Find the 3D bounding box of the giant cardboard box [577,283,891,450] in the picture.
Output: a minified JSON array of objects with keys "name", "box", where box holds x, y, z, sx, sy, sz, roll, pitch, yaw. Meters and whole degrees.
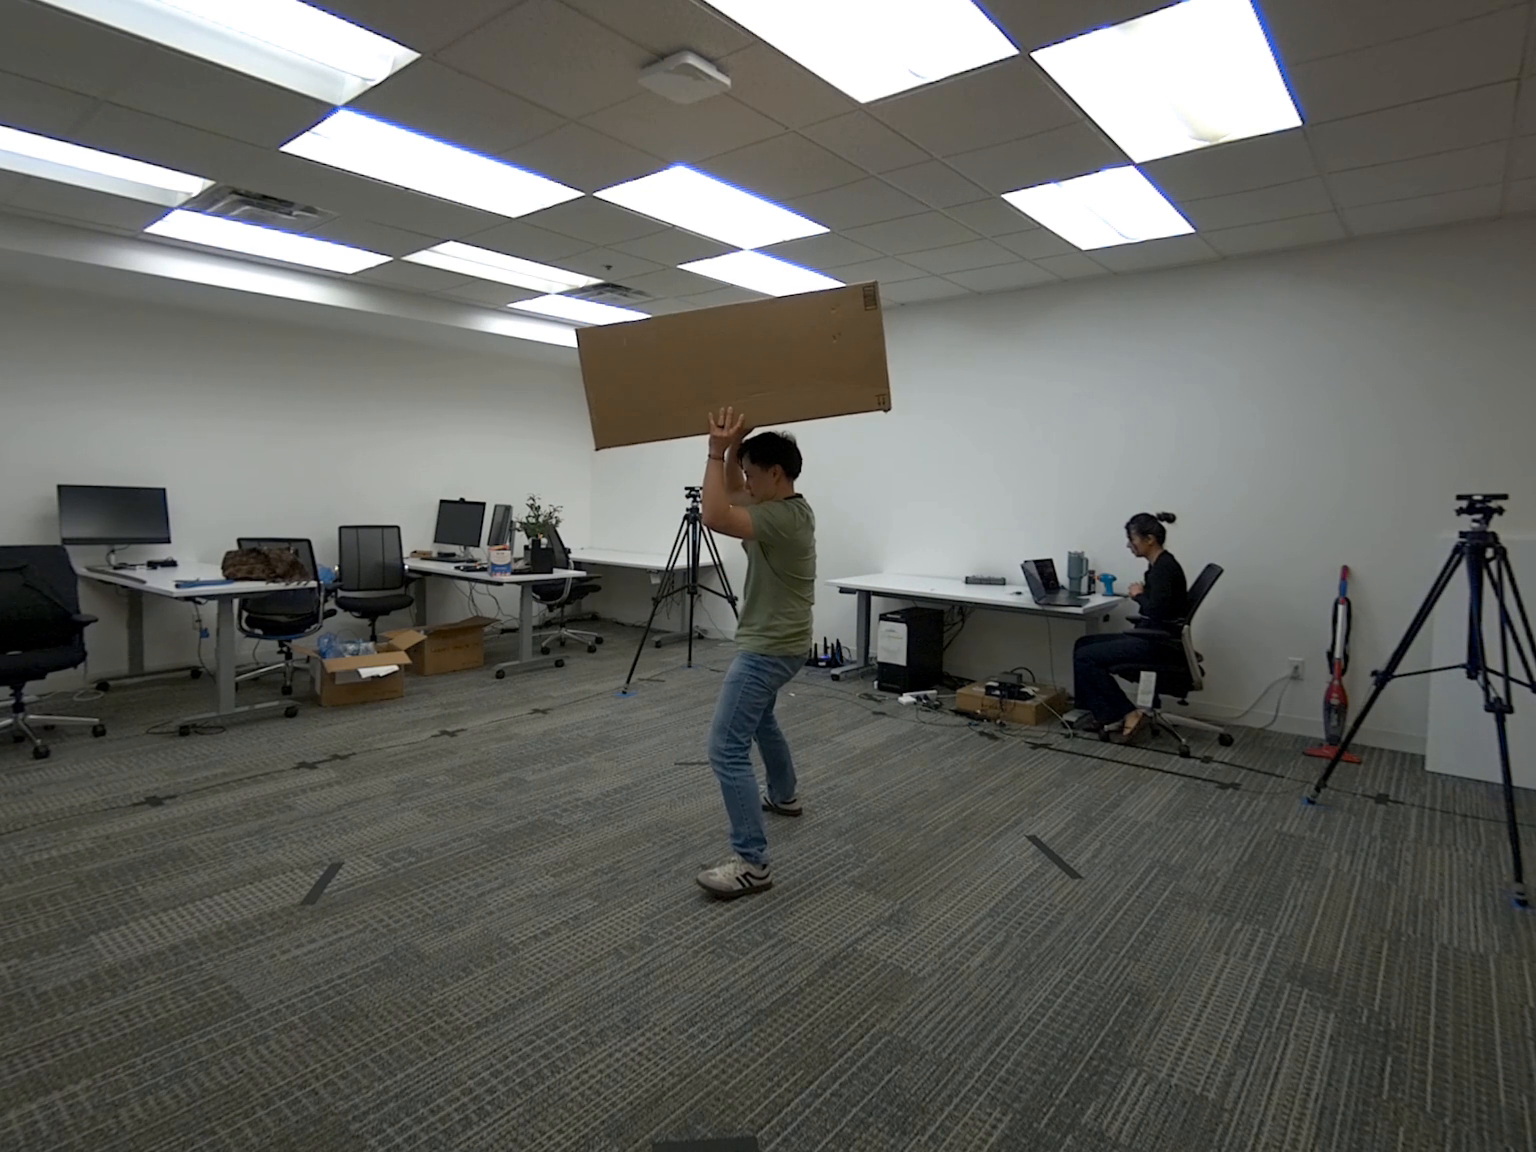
[{"name":"giant cardboard box","box":[-0.122,-0.753,3.110,1.034,0.421,0.580,-7,13,8]}]
